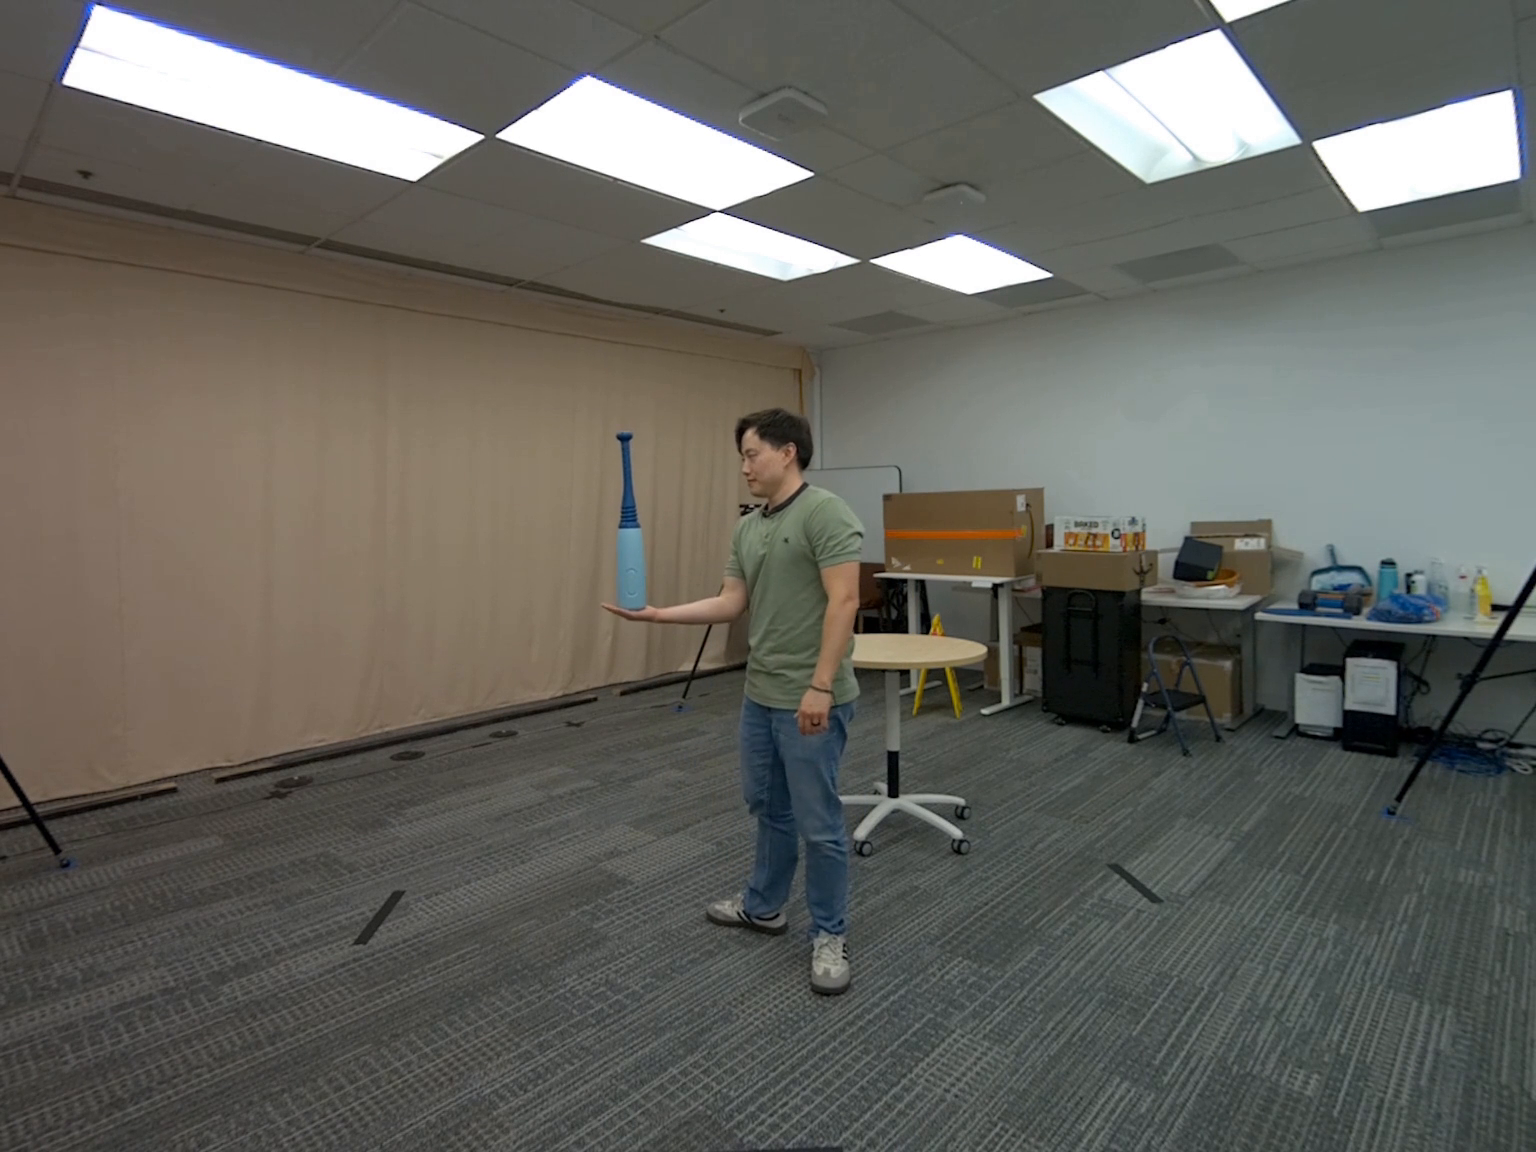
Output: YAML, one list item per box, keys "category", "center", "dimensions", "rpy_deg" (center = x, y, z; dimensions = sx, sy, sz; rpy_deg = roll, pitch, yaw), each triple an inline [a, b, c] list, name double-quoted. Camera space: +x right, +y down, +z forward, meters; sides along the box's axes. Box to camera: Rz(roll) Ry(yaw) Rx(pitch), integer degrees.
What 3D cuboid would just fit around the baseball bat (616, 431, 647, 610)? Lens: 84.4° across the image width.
- category: "baseball bat"
  center: [-0.417, -0.165, 2.571]
  dimensions: [0.089, 0.542, 0.089]
  rpy_deg: [-1, 2, -2]
